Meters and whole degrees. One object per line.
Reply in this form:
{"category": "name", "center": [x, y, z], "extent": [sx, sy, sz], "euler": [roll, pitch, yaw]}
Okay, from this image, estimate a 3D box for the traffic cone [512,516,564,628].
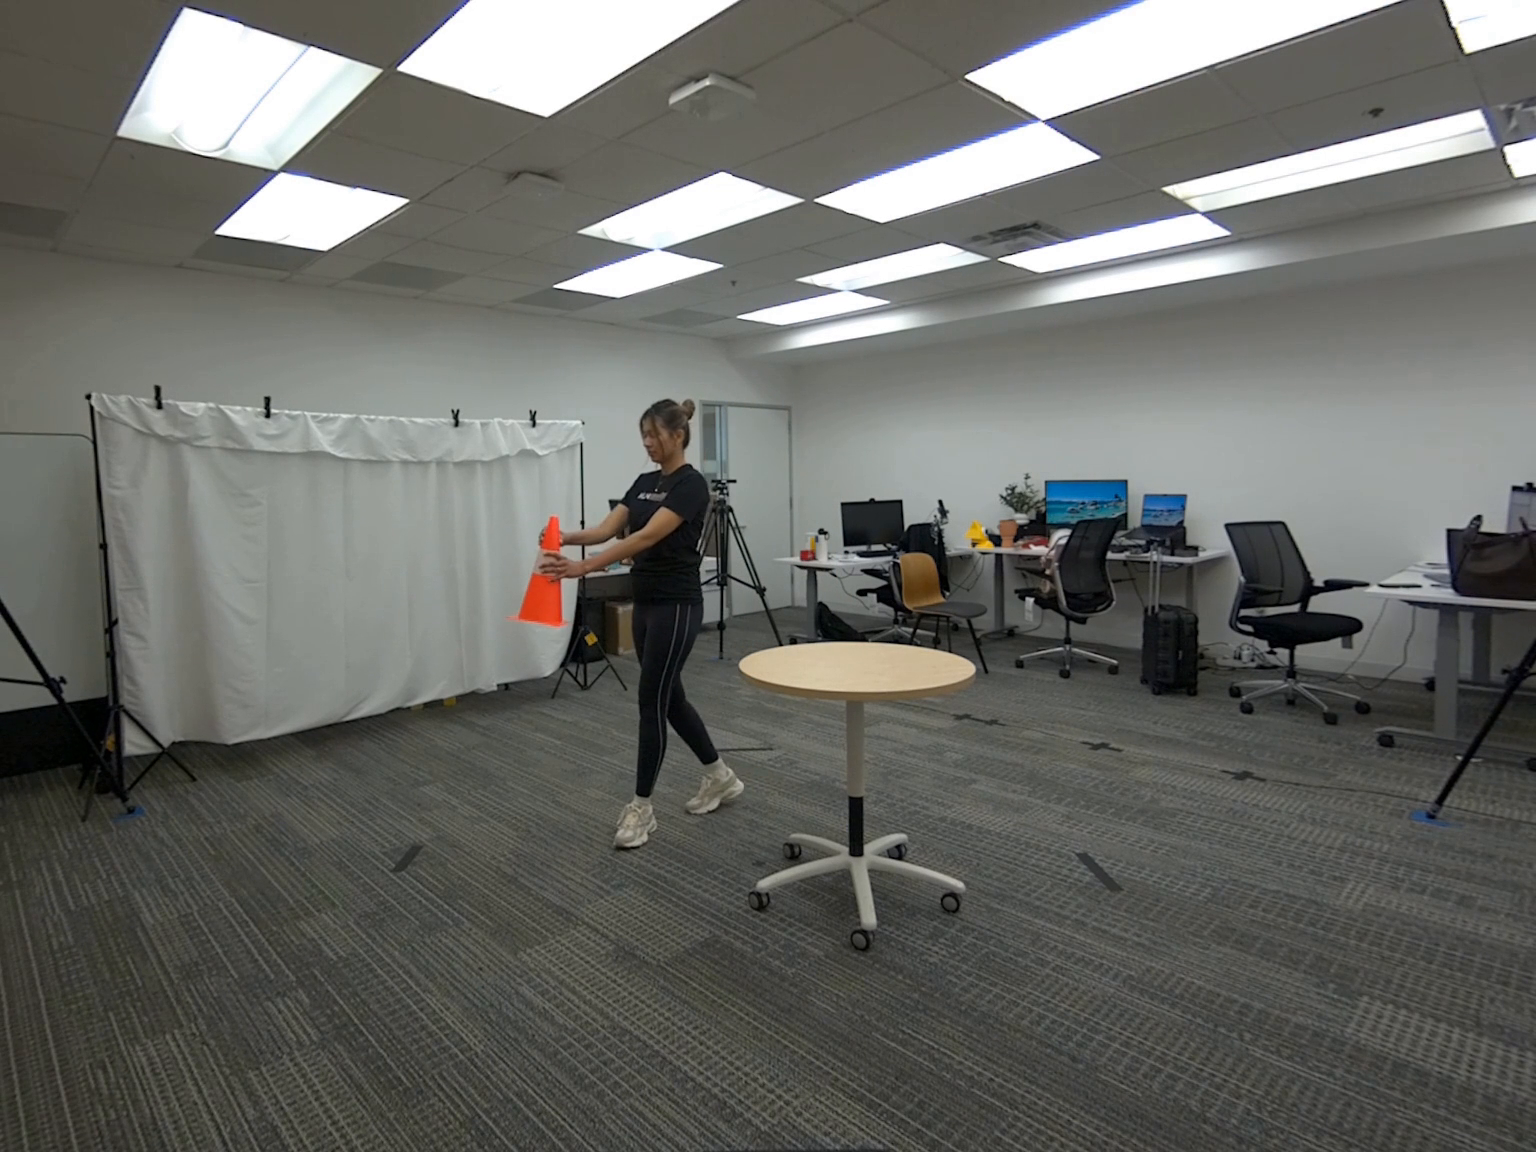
{"category": "traffic cone", "center": [-0.810, -0.027, 3.105], "extent": [0.206, 0.384, 0.202], "euler": [6, -1, 11]}
